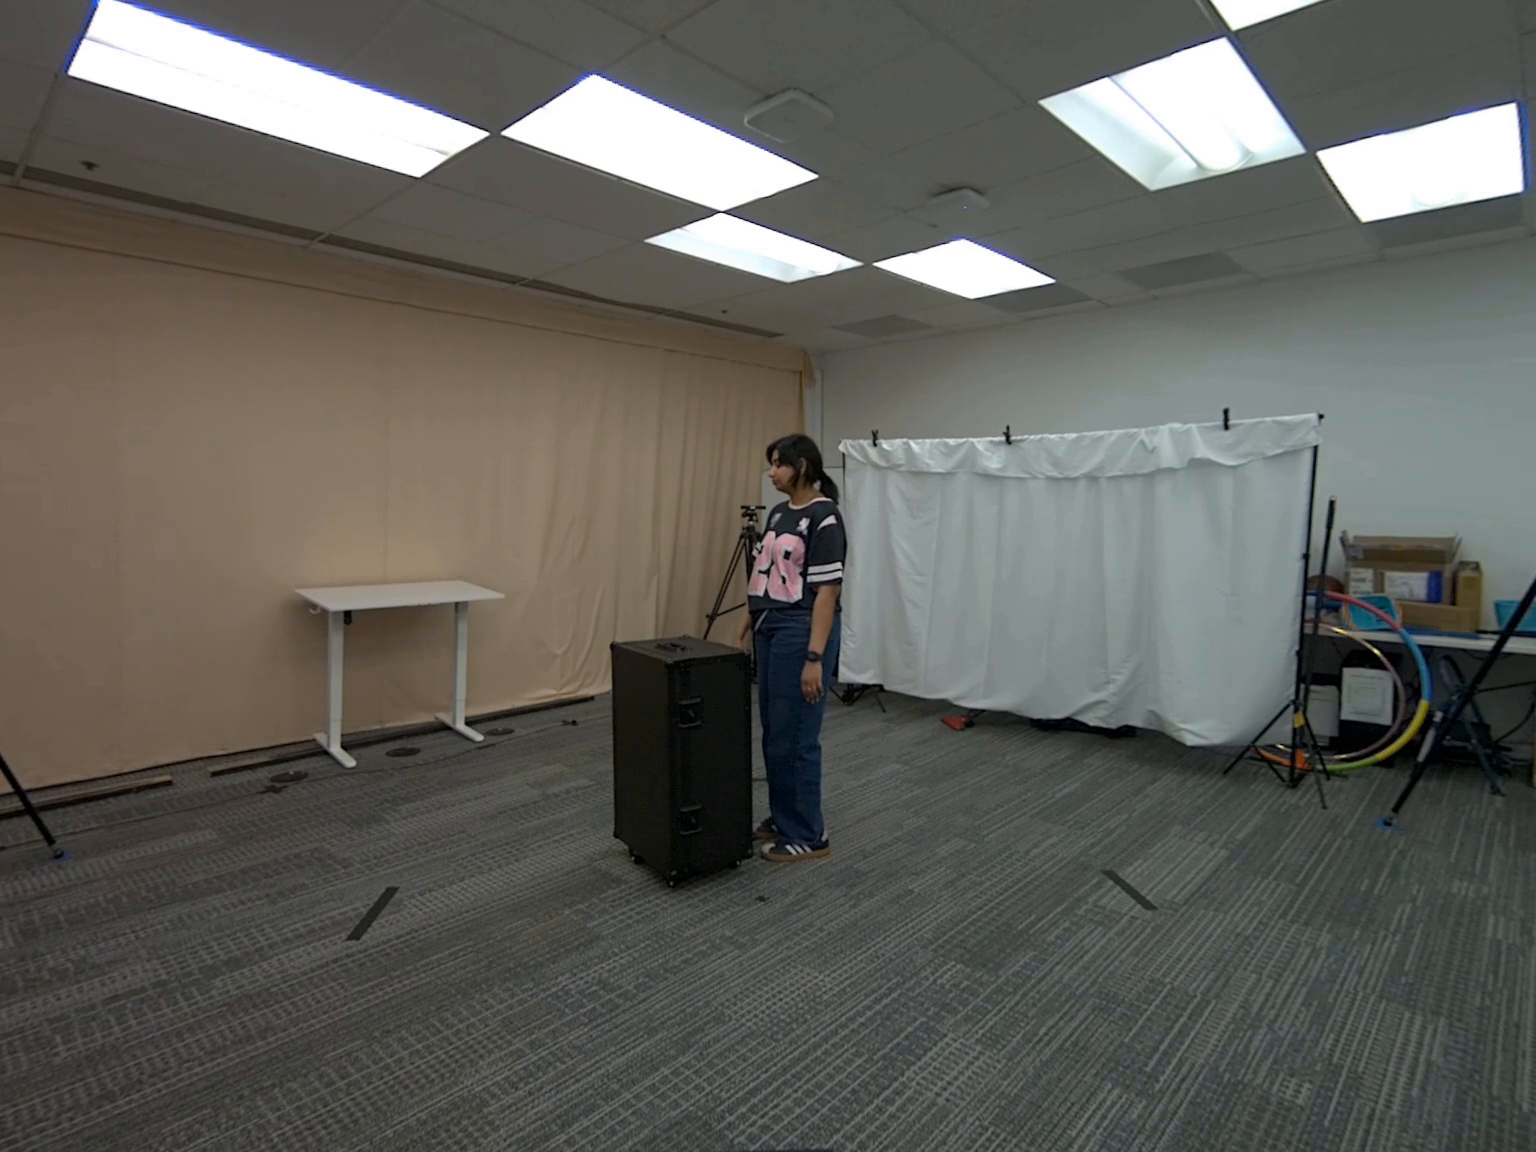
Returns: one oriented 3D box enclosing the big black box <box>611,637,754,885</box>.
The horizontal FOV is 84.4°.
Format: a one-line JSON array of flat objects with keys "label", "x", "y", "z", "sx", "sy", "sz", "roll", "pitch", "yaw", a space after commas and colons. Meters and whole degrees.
[{"label": "big black box", "x": -0.337, "y": 0.703, "z": 3.264, "sx": 0.374, "sy": 0.867, "sz": 0.539, "roll": -2, "pitch": 4, "yaw": -34}]
